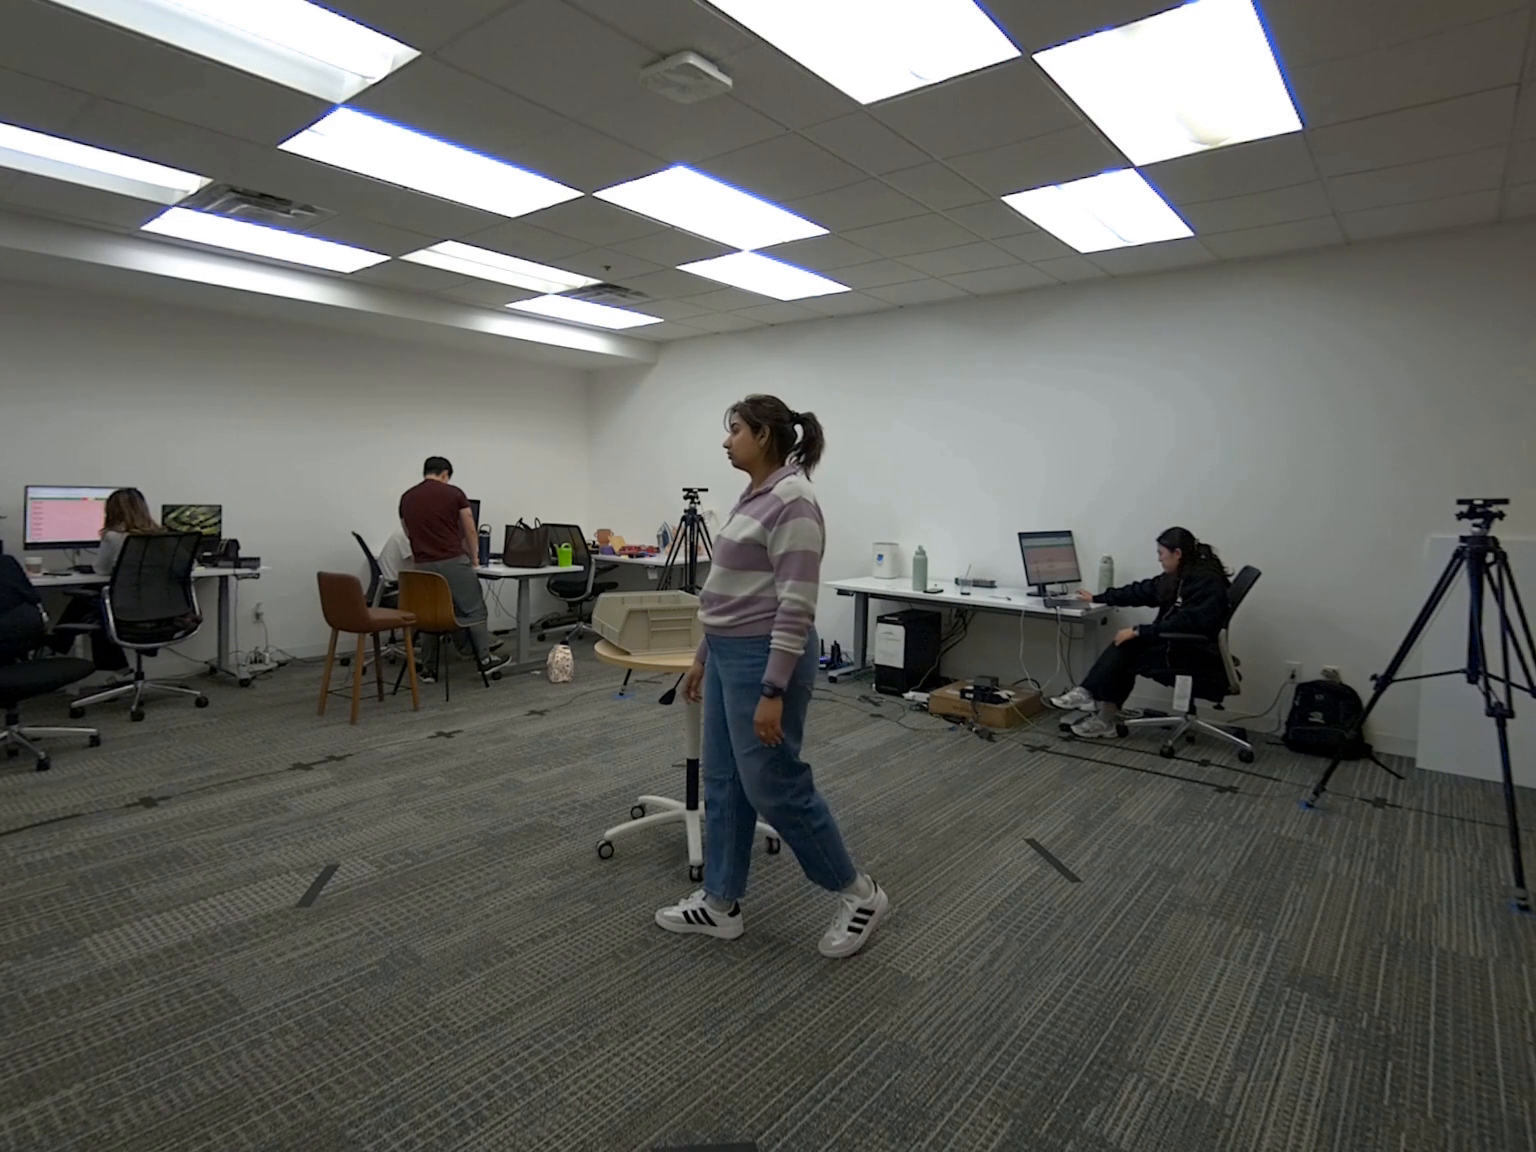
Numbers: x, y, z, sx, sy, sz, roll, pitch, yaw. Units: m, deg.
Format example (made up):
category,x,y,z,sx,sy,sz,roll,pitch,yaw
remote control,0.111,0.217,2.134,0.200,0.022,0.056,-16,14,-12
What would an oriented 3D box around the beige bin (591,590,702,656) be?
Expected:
category,x,y,z,sx,sy,sz,roll,pitch,yaw
beige bin,-0.468,0.178,3.303,0.369,0.188,0.433,-1,5,-22
